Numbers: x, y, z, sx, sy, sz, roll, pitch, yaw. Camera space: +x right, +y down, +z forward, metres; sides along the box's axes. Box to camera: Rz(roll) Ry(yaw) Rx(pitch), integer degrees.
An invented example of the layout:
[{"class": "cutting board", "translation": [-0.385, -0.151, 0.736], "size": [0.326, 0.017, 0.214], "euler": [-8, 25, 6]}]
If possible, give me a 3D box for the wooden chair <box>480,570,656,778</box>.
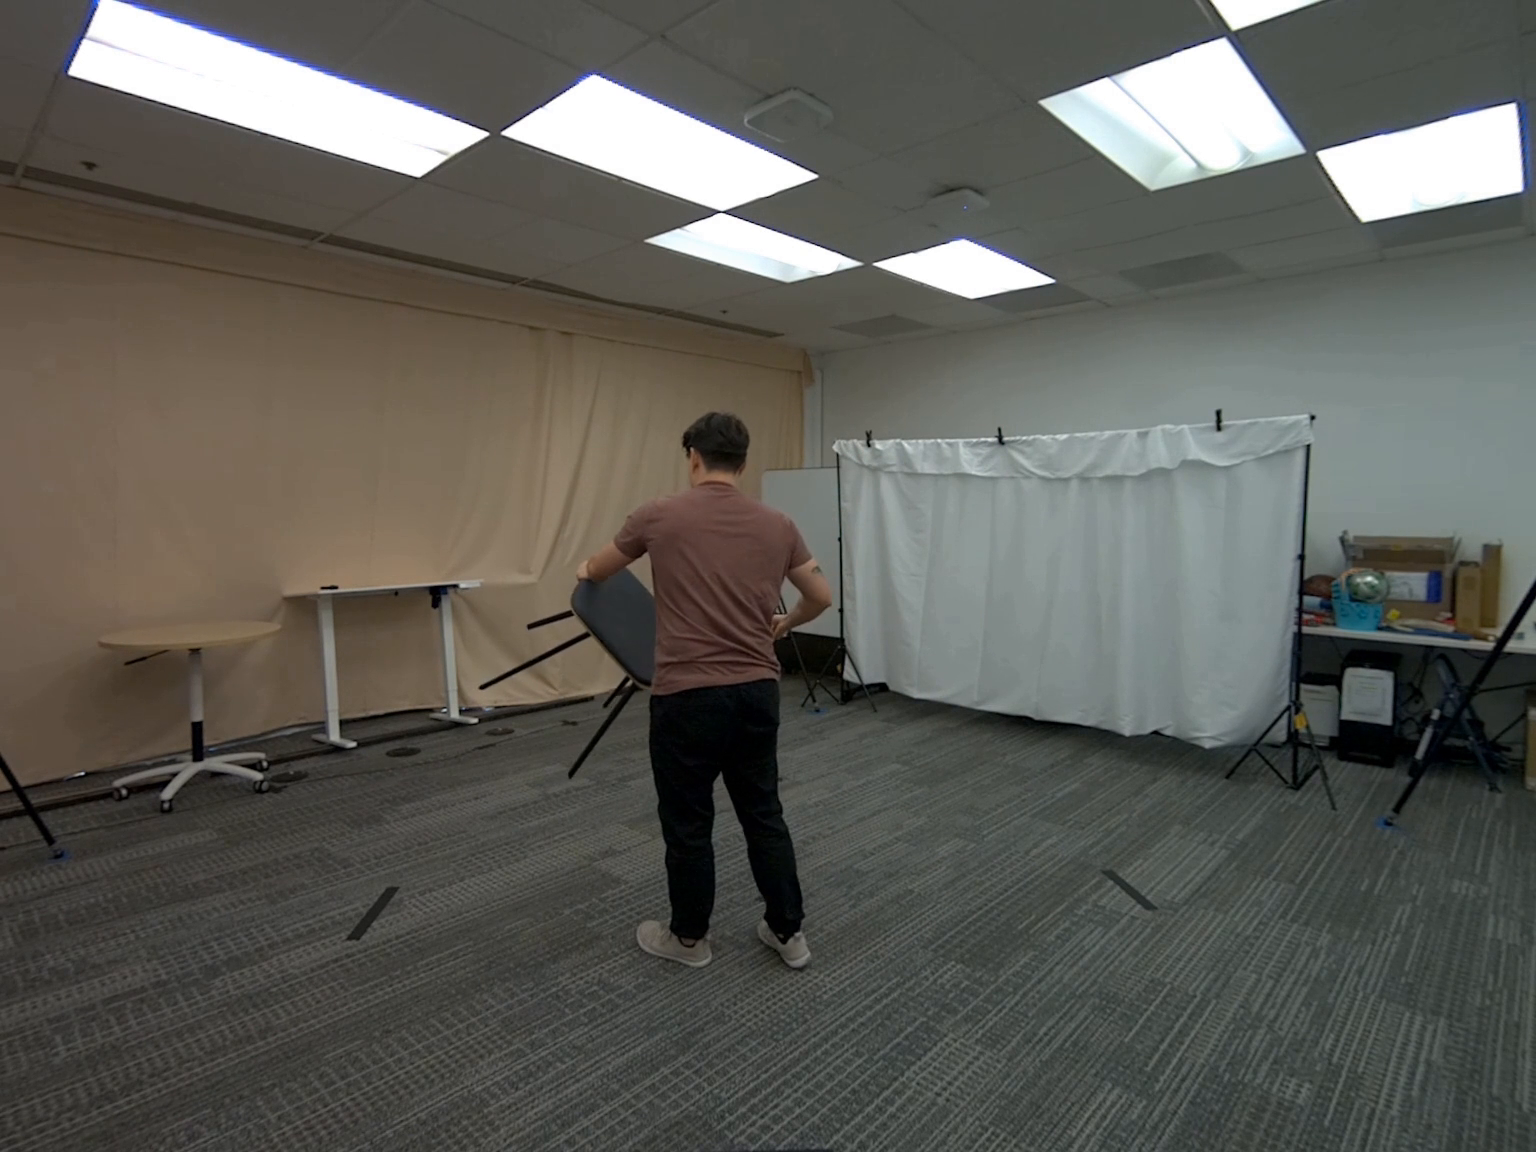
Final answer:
[{"class": "wooden chair", "translation": [-0.480, 0.216, 2.925], "size": [0.887, 0.515, 0.480], "euler": [-31, 16, 20]}]
